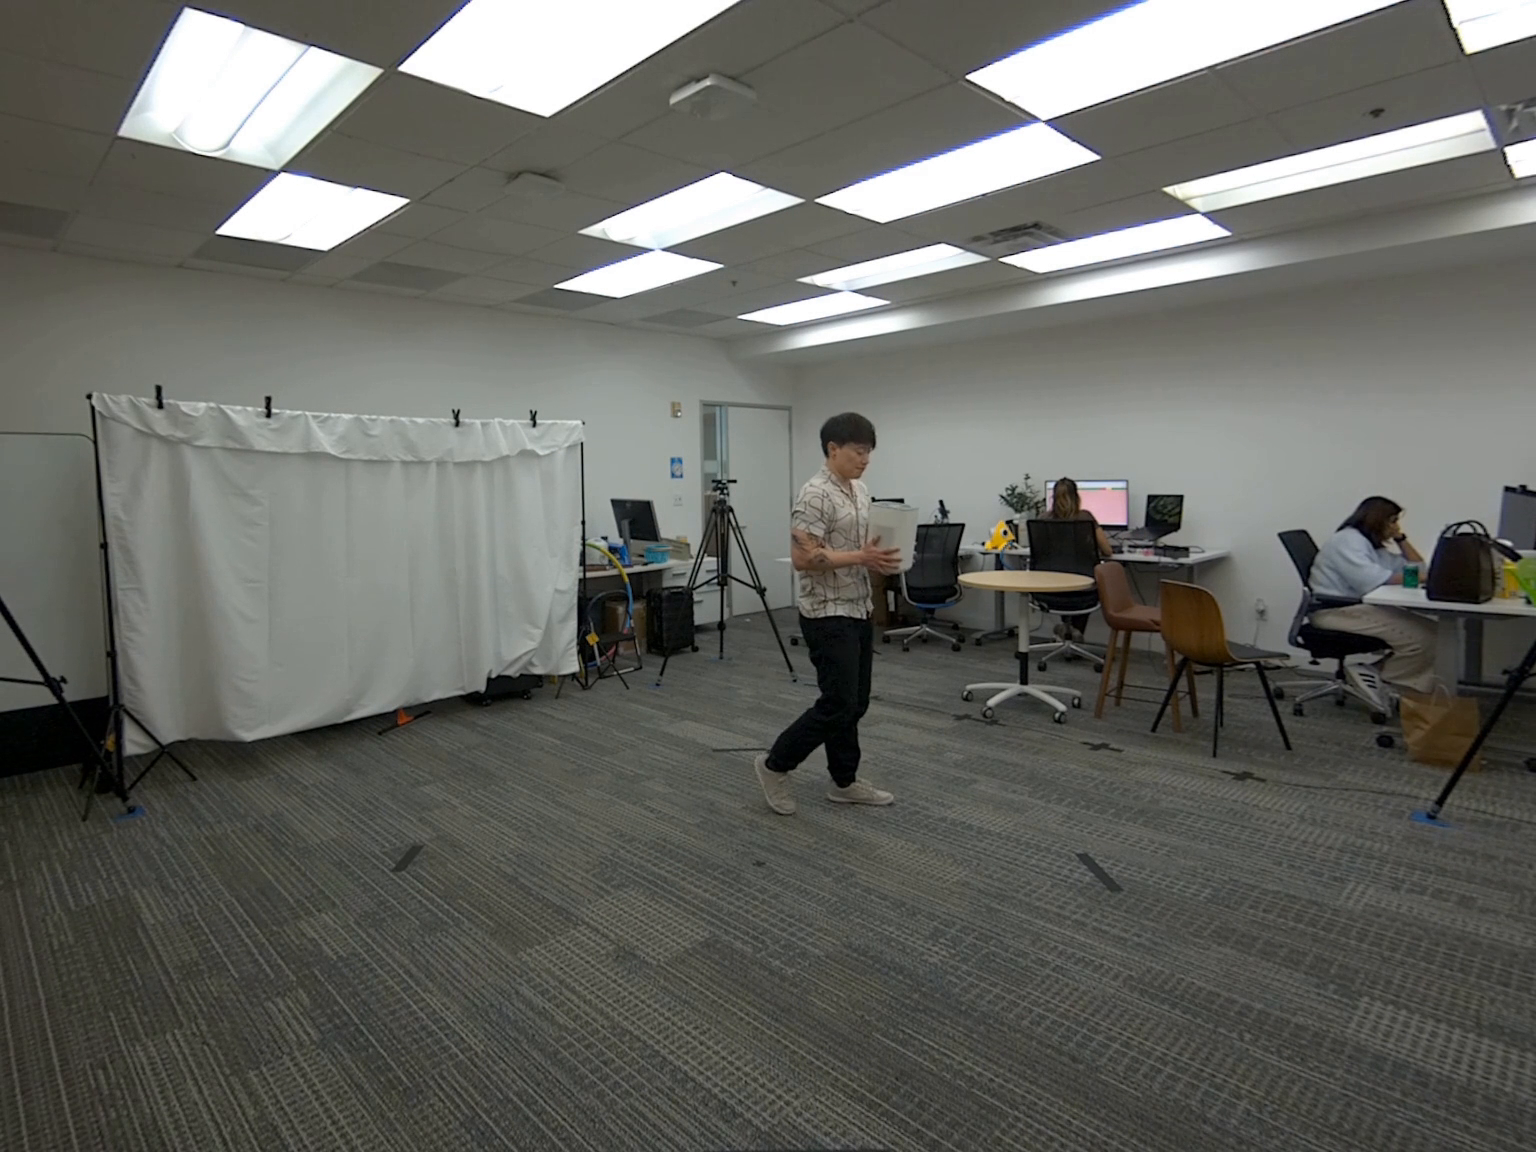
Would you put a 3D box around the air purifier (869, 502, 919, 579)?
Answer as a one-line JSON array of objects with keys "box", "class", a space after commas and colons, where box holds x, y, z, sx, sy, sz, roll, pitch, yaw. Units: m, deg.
[{"box": [0.475, -0.150, 3.436, 0.176, 0.263, 0.168, 10, 12, 33], "class": "air purifier"}]
